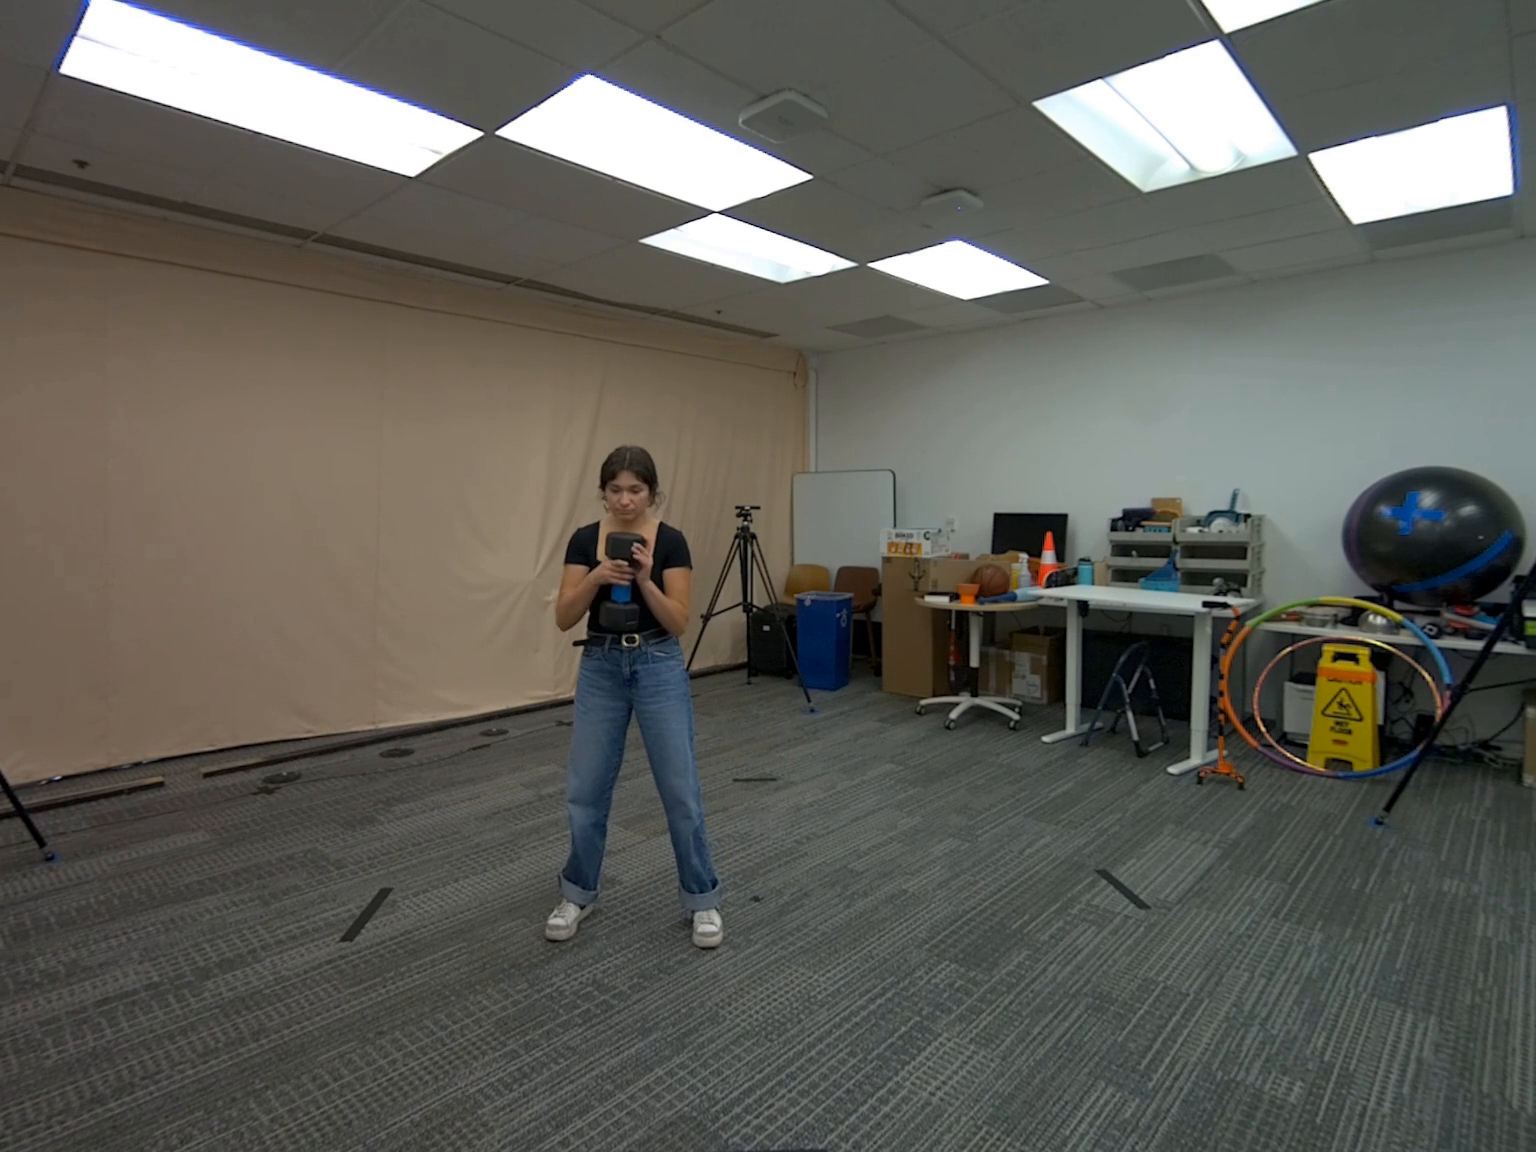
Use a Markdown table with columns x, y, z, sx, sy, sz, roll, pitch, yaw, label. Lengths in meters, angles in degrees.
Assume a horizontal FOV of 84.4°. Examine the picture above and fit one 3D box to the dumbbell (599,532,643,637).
| x | y | z | sx | sy | sz | roll | pitch | yaw | label |
| --- | --- | --- | --- | --- | --- | --- | --- | --- | --- |
| -0.454 | 0.024 | 2.574 | 0.106 | 0.293 | 0.126 | 5 | 5 | -20 | dumbbell |
